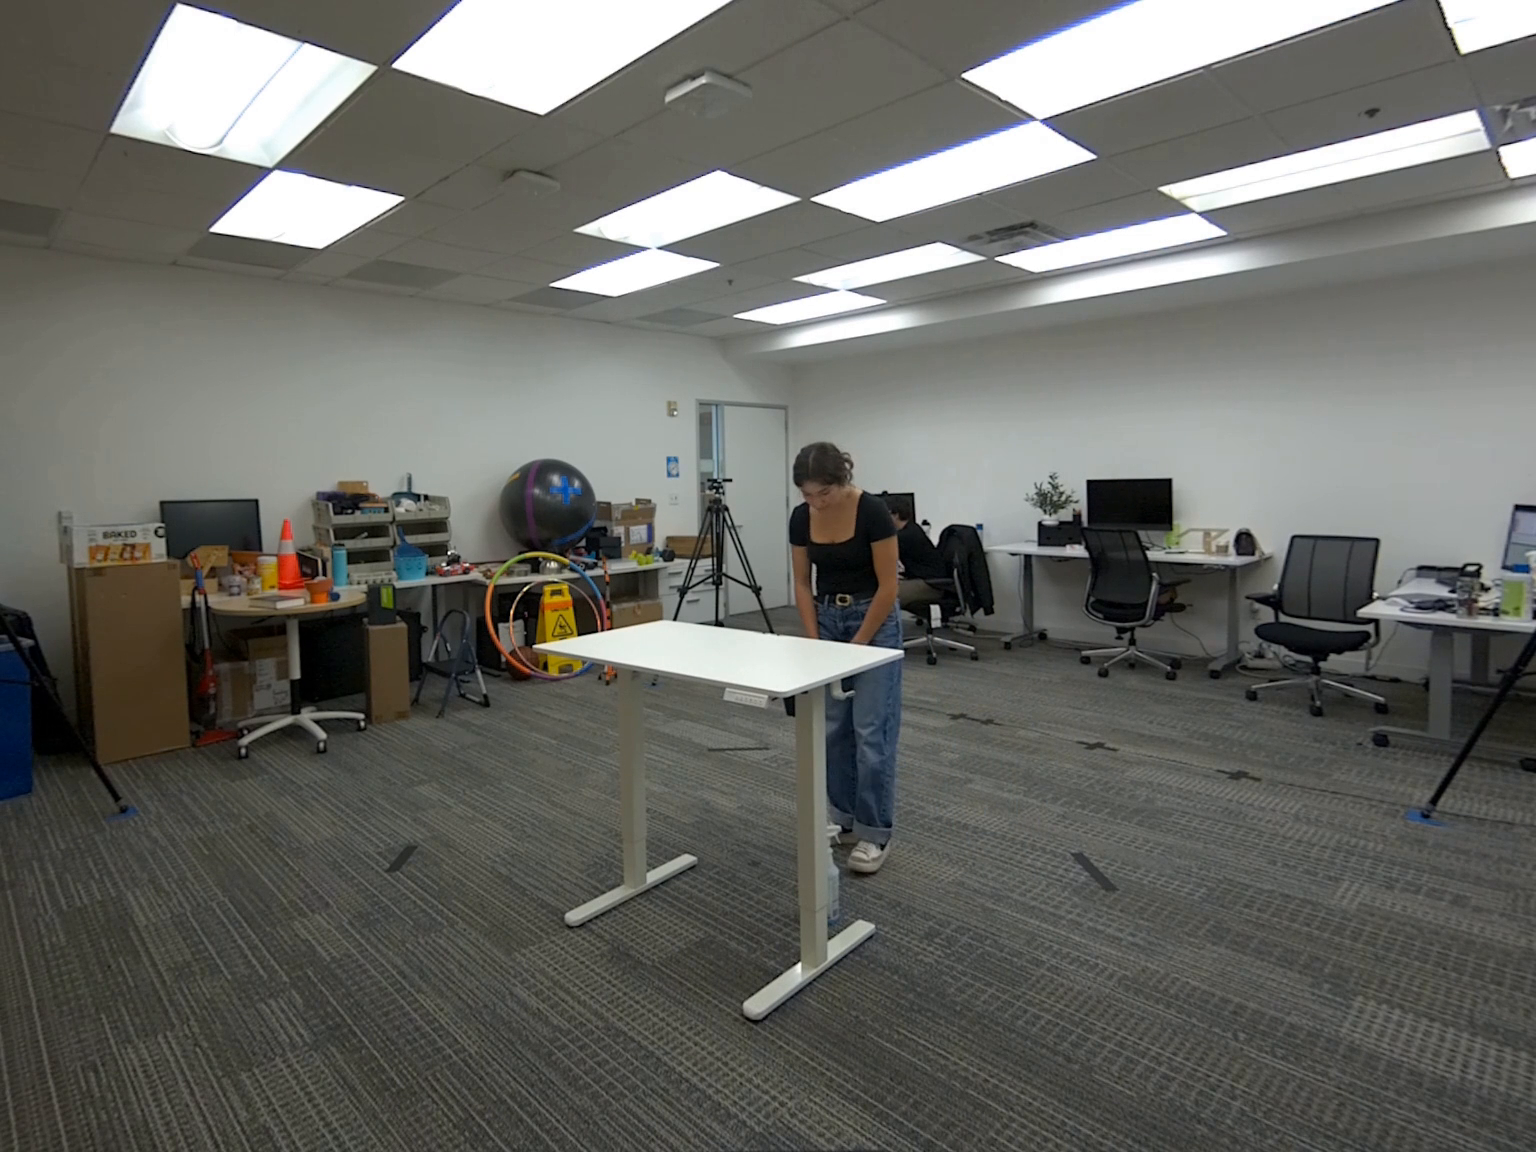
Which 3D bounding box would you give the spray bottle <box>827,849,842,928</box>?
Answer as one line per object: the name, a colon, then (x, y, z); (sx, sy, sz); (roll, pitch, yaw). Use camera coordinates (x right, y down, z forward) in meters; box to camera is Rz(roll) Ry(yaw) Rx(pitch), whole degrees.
spray bottle: (0.198, 0.952, 2.695); (0.092, 0.296, 0.085); (4, 4, 21)
